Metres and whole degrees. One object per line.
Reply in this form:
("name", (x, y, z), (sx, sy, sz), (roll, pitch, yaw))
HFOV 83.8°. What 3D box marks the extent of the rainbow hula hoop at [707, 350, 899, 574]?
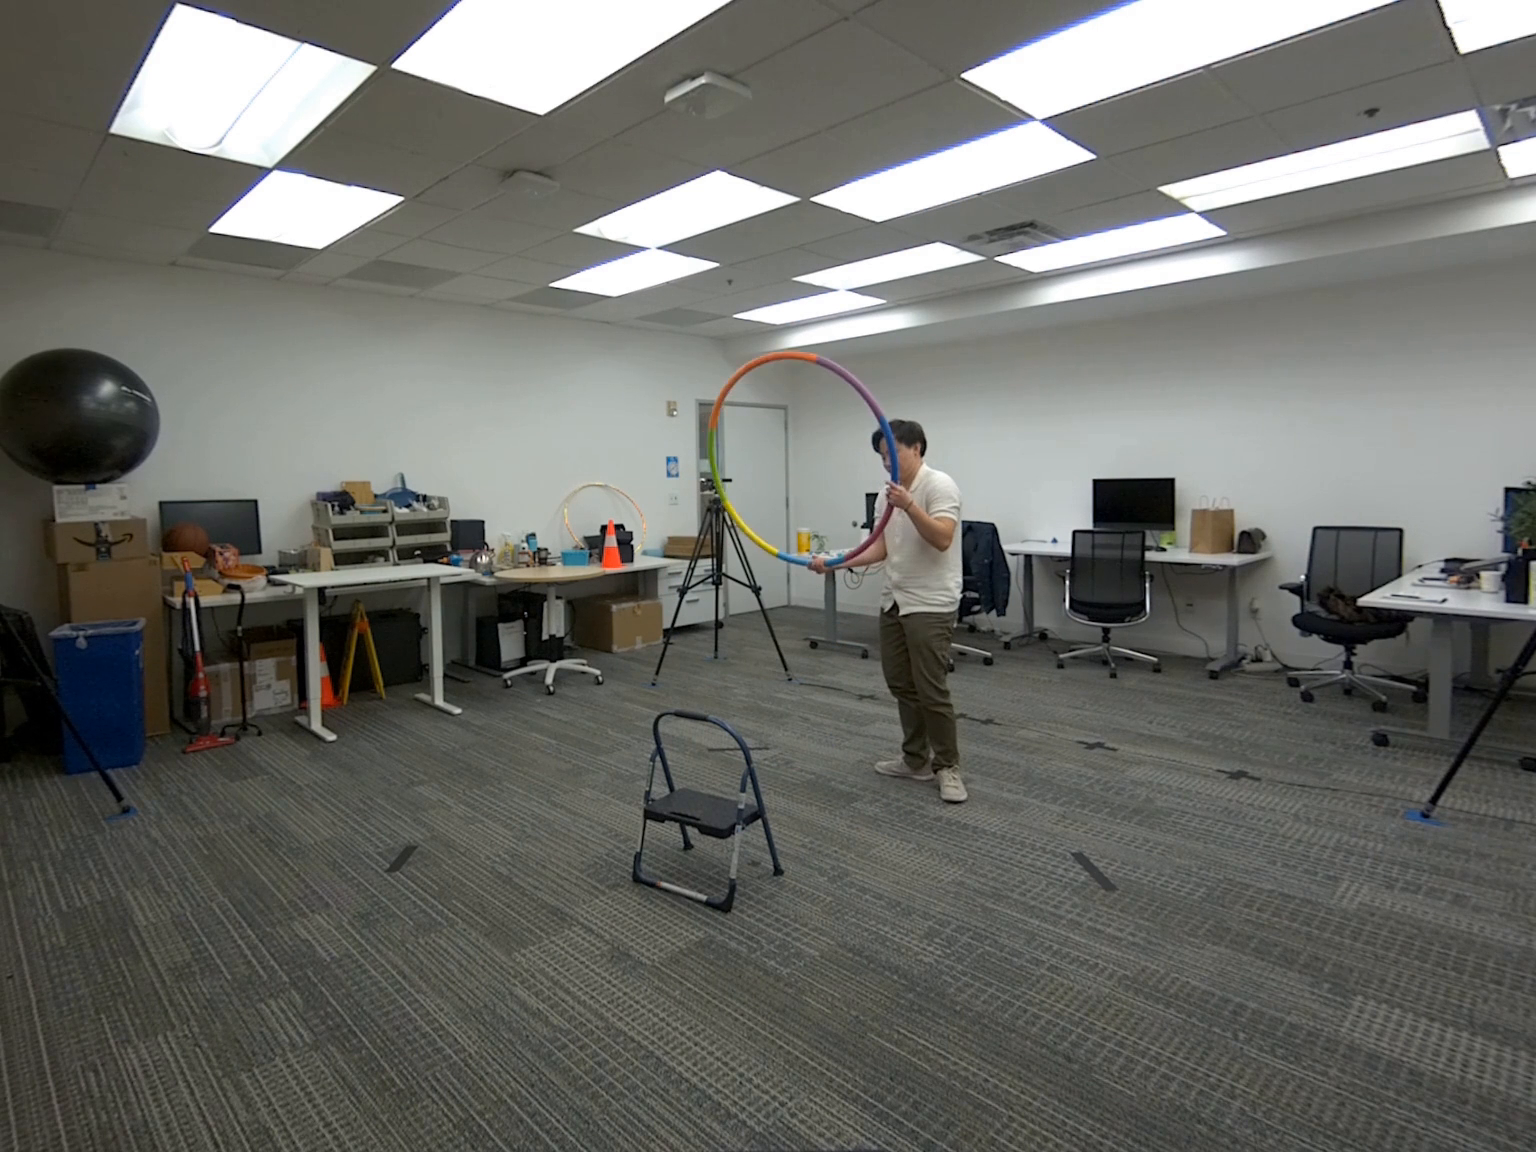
("rainbow hula hoop", (0.130, -0.491, 3.807), (1.008, 0.963, 0.035), (3, 20, 38))
